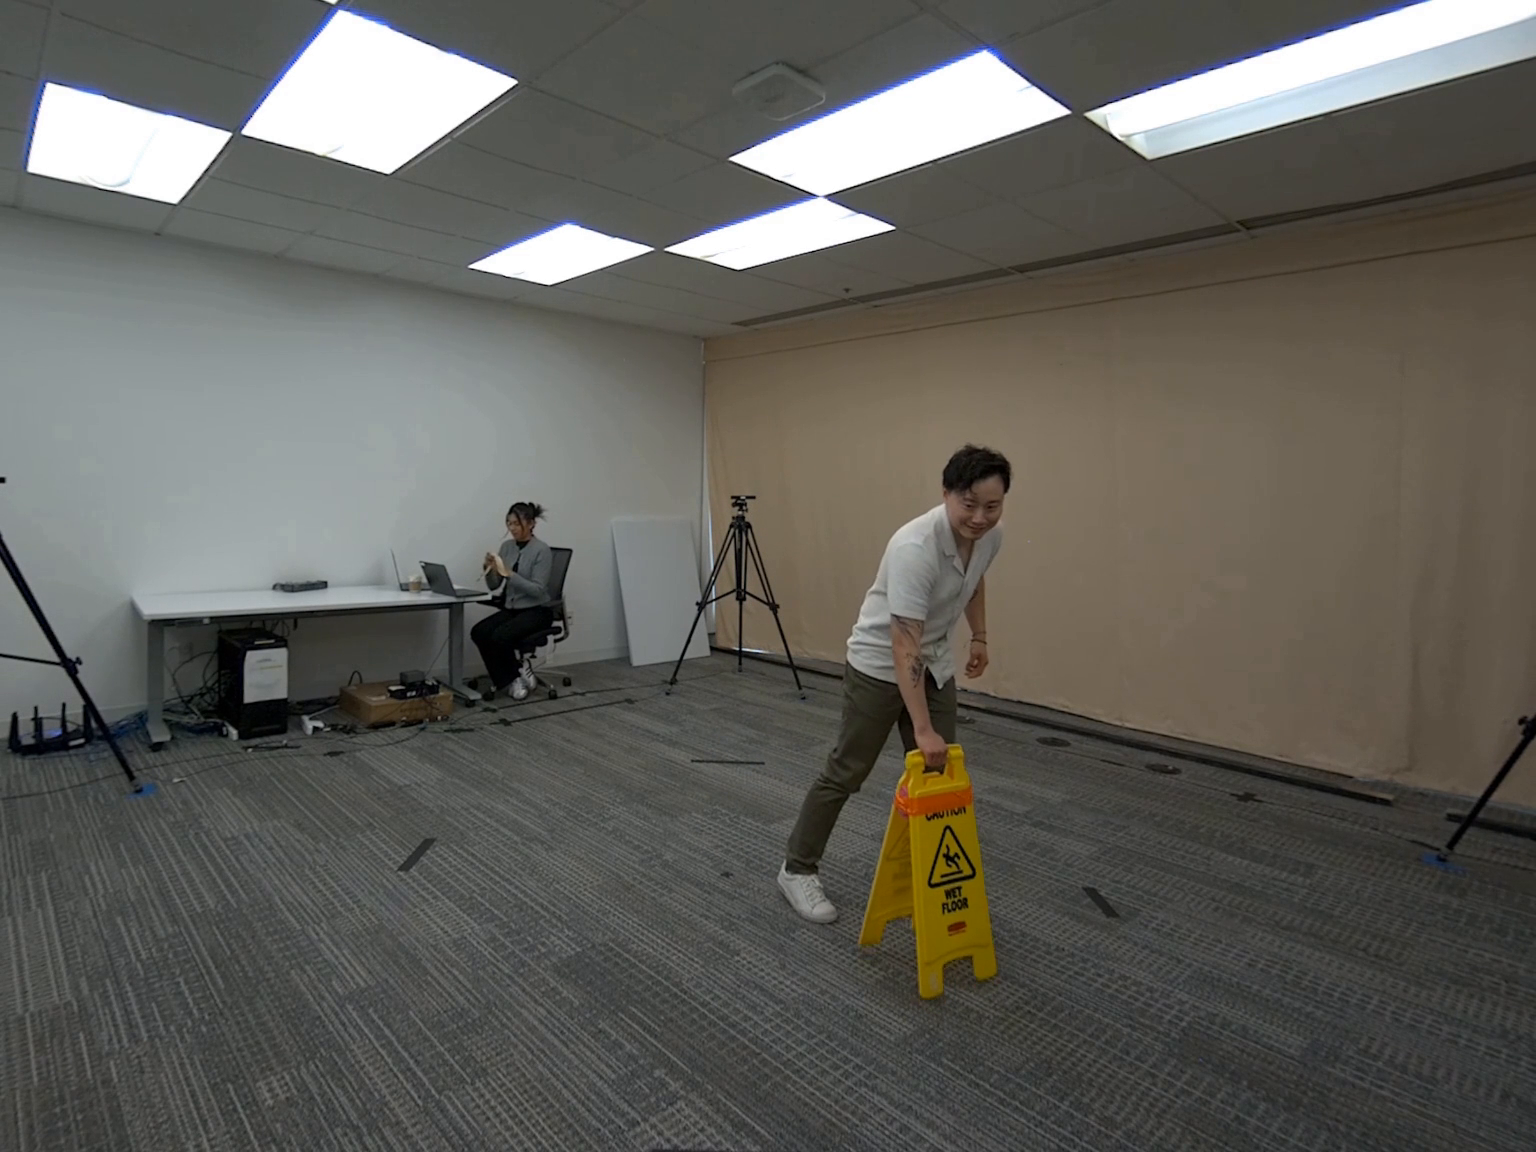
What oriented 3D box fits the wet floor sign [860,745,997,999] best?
[{"bbox_3d":[0.471,0.815,2.476,0.277,0.644,0.296,0,5,-29],"label":"wet floor sign"}]
